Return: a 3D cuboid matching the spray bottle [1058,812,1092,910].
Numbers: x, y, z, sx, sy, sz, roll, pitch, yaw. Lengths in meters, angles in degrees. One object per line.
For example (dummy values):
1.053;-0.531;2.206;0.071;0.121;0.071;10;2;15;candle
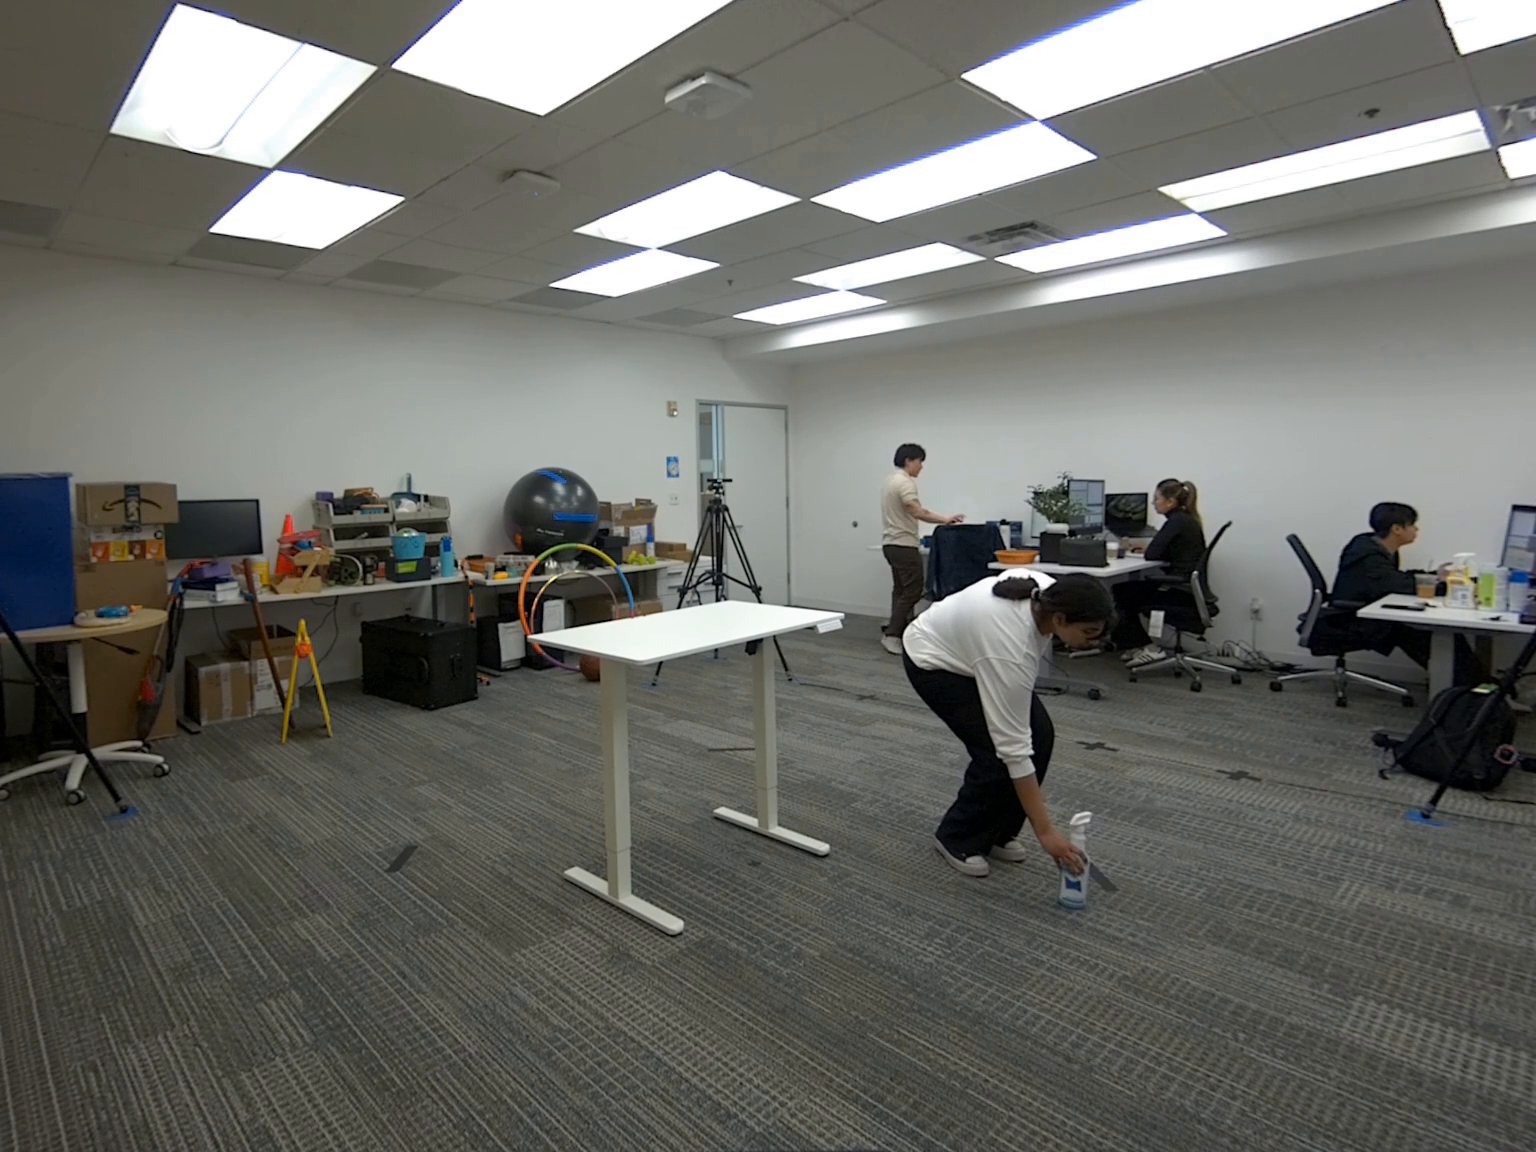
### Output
0.996;0.912;2.773;0.090;0.296;0.087;3;3;-3;spray bottle
